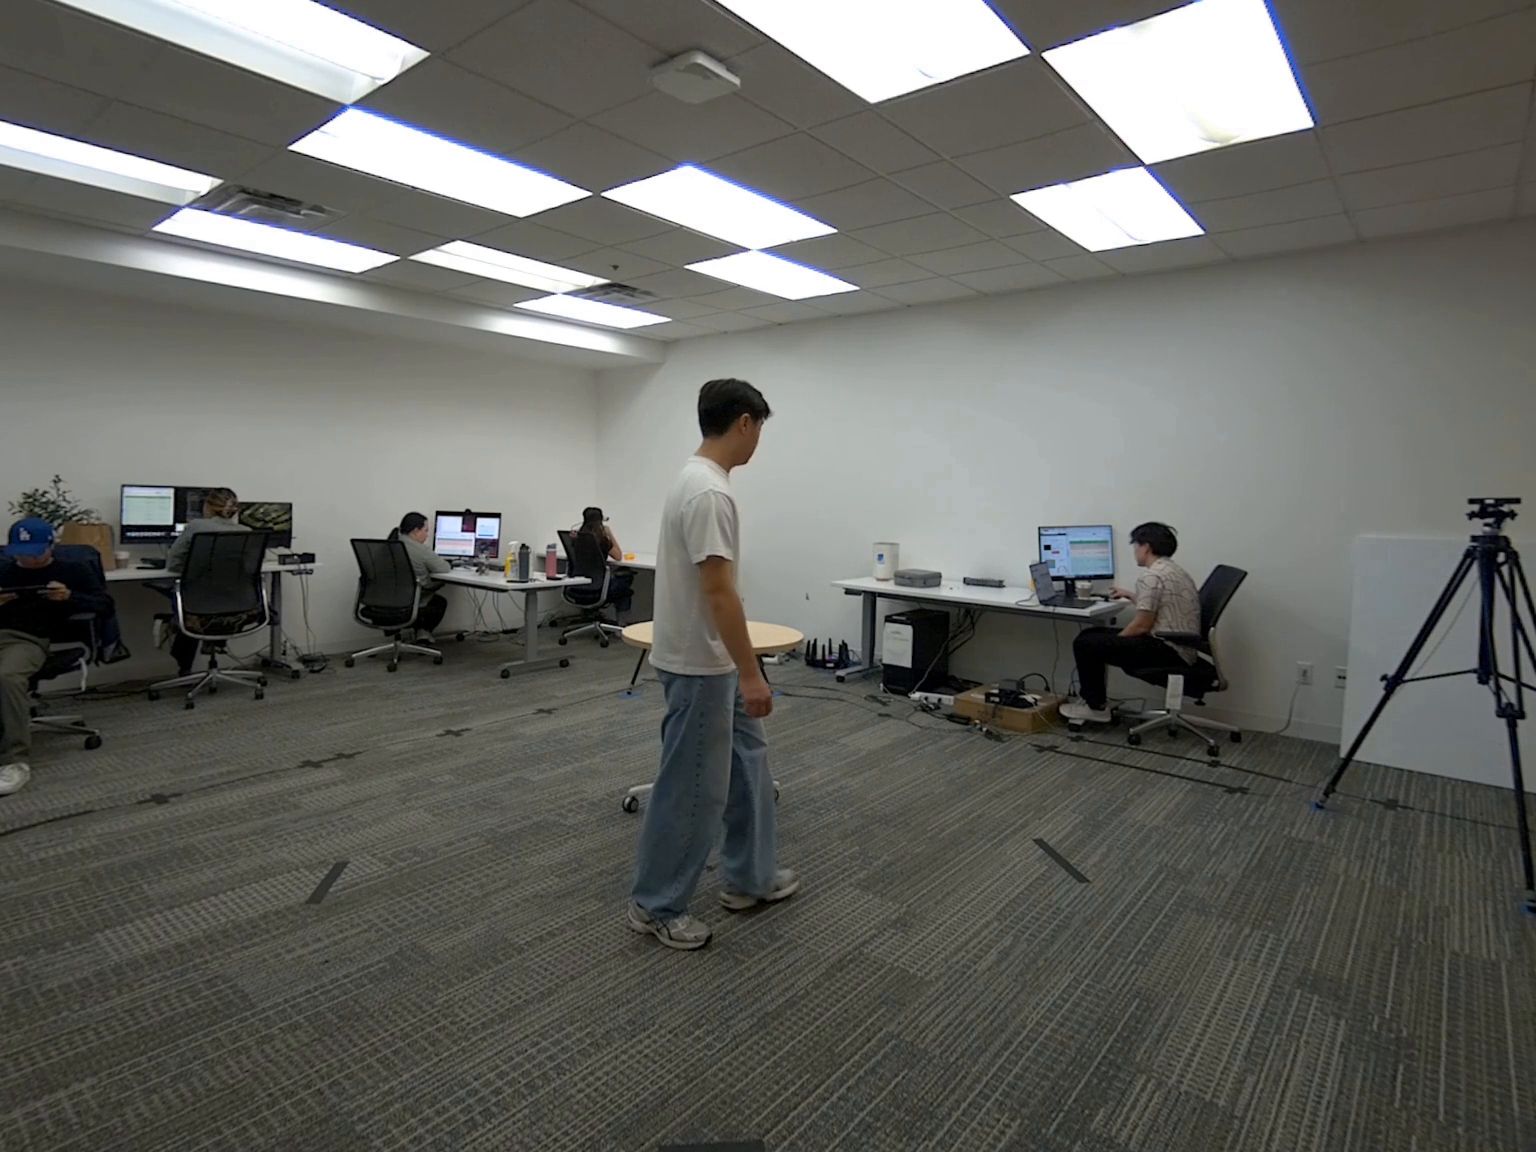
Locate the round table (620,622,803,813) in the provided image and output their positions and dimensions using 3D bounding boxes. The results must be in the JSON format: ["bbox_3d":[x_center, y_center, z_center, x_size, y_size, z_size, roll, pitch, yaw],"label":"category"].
[{"bbox_3d":[-0.241,0.621,3.609,0.784,0.784,0.789,1,4,-2],"label":"round table"}]
